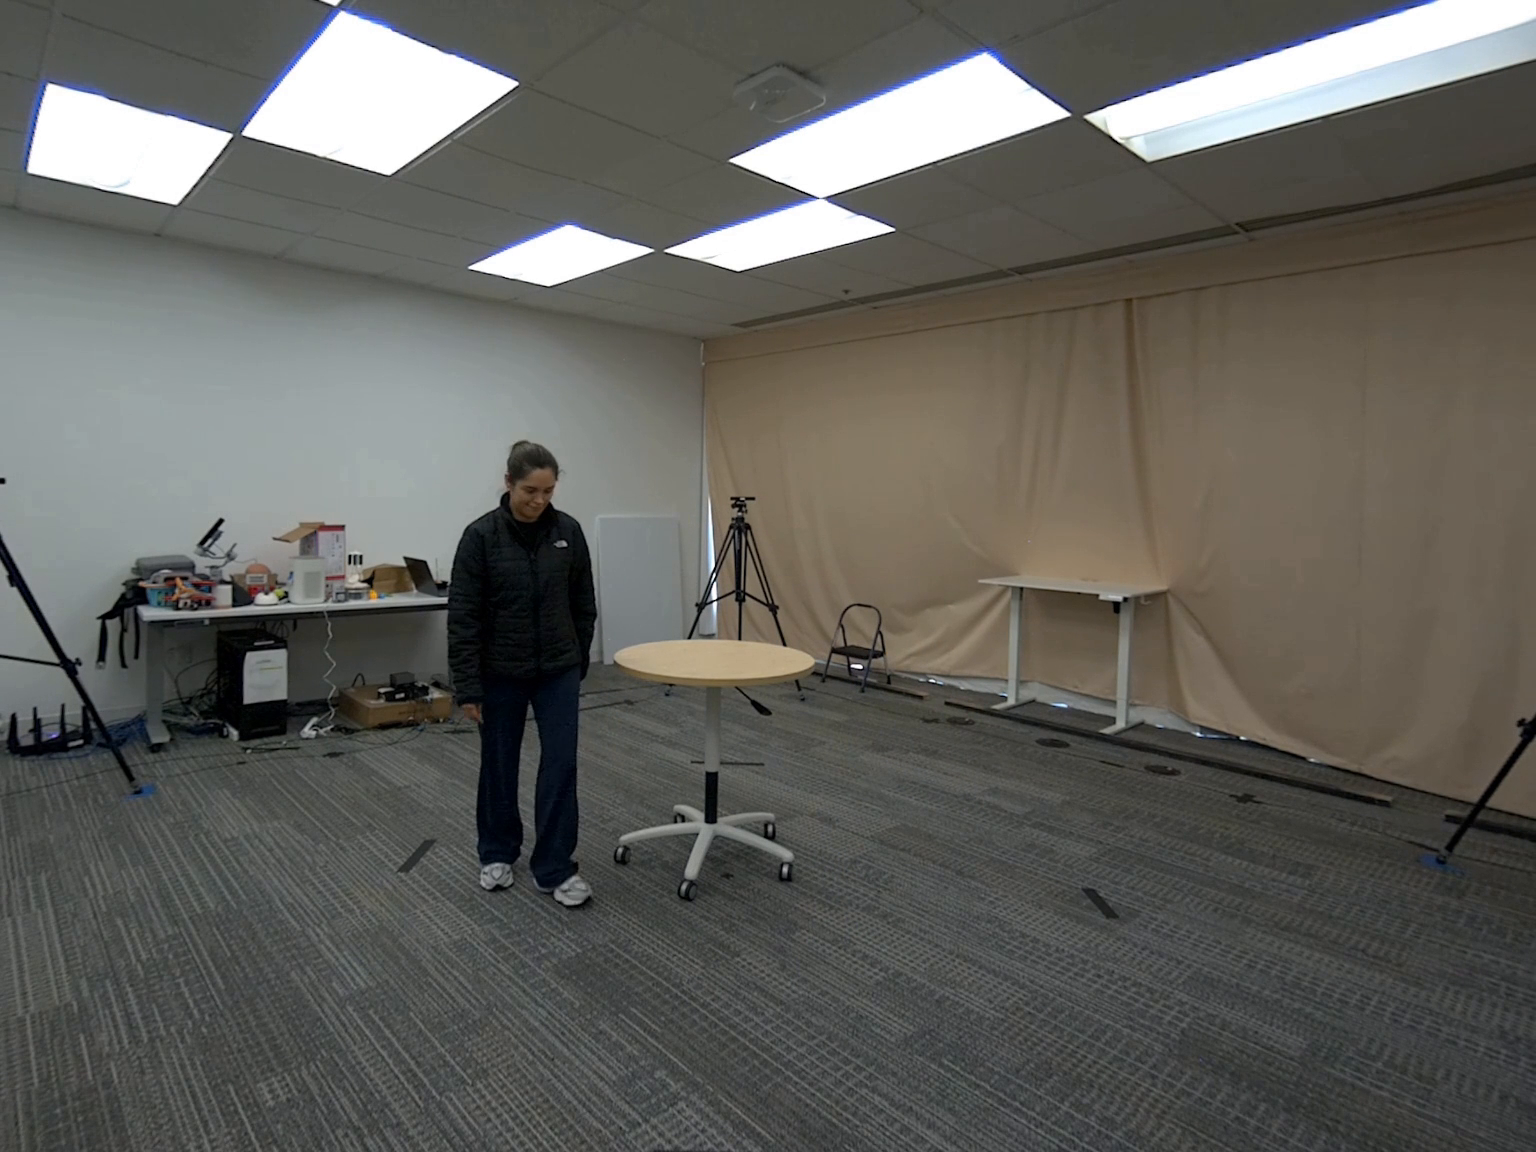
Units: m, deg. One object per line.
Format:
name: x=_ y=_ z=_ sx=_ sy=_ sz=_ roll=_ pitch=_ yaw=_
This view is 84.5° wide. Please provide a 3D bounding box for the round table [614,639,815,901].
round table: x=-0.204 y=0.702 z=3.228 sx=0.784 sy=0.784 sz=0.788 roll=1 pitch=4 yaw=-1
